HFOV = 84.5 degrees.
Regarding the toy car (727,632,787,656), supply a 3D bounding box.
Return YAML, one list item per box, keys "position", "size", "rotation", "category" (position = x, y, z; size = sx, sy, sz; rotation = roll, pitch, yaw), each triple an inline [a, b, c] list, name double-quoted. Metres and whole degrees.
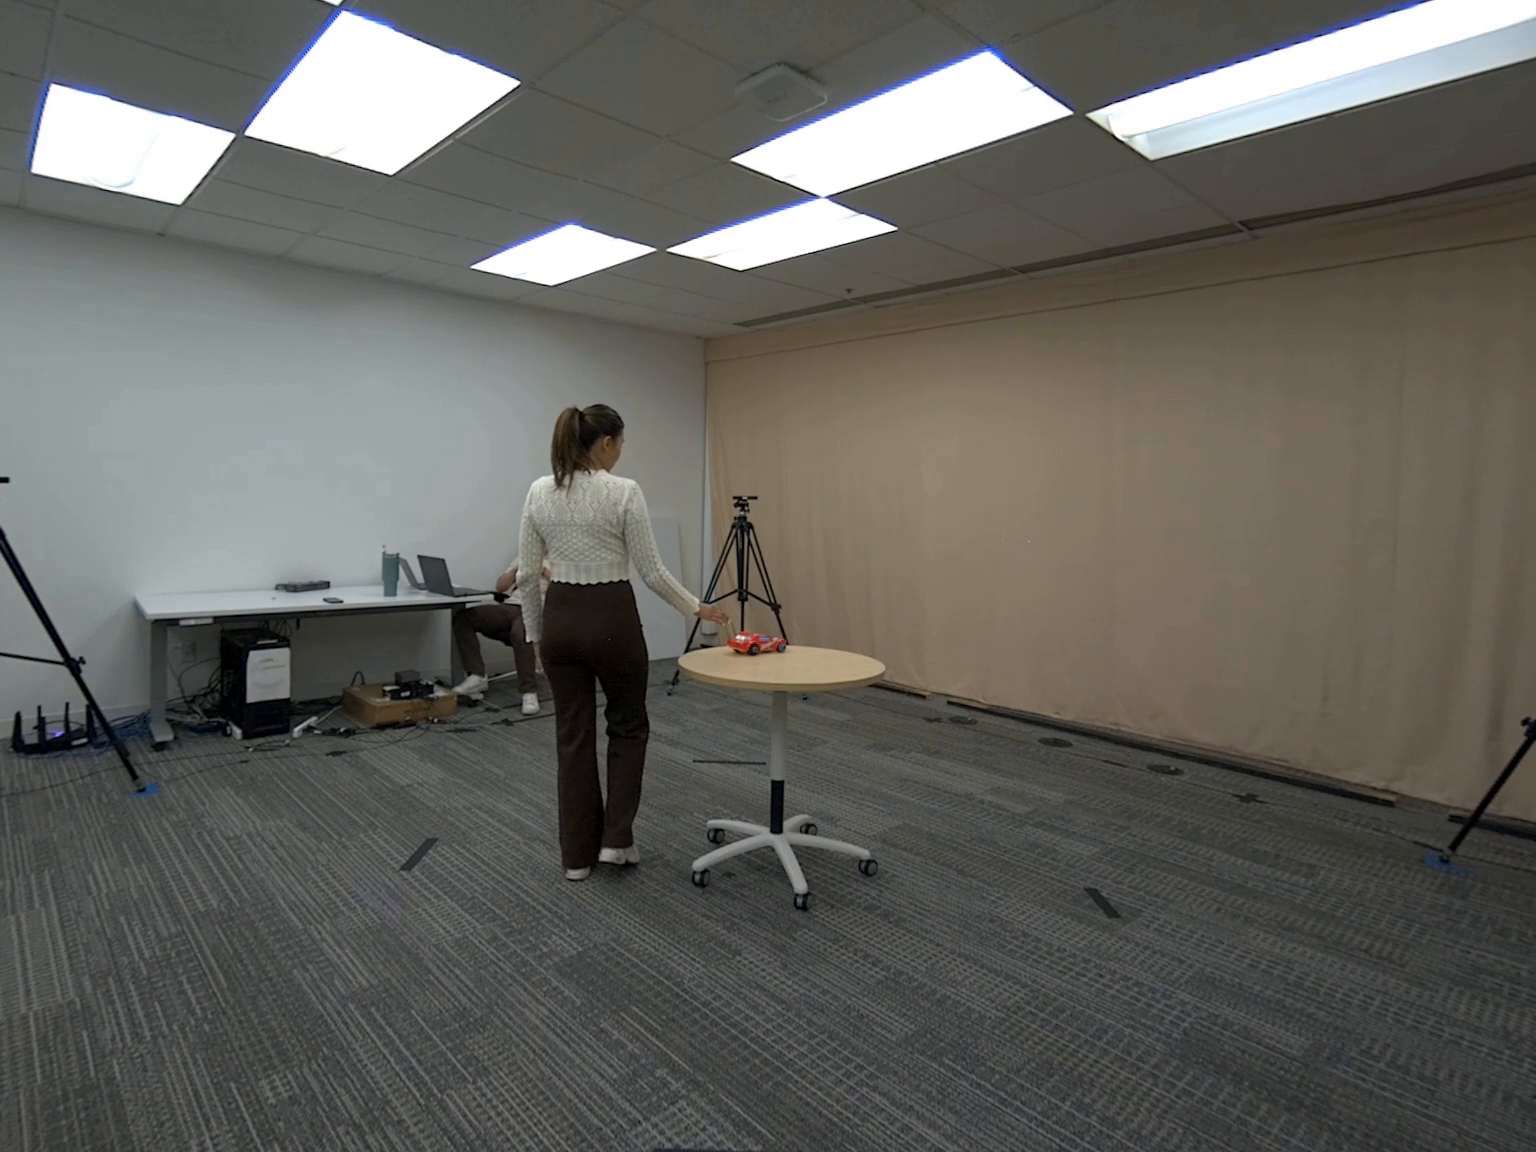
- position: [-0.062, 0.272, 3.320]
  size: [0.248, 0.083, 0.133]
  rotation: [13, -4, -39]
  category: "toy car"
